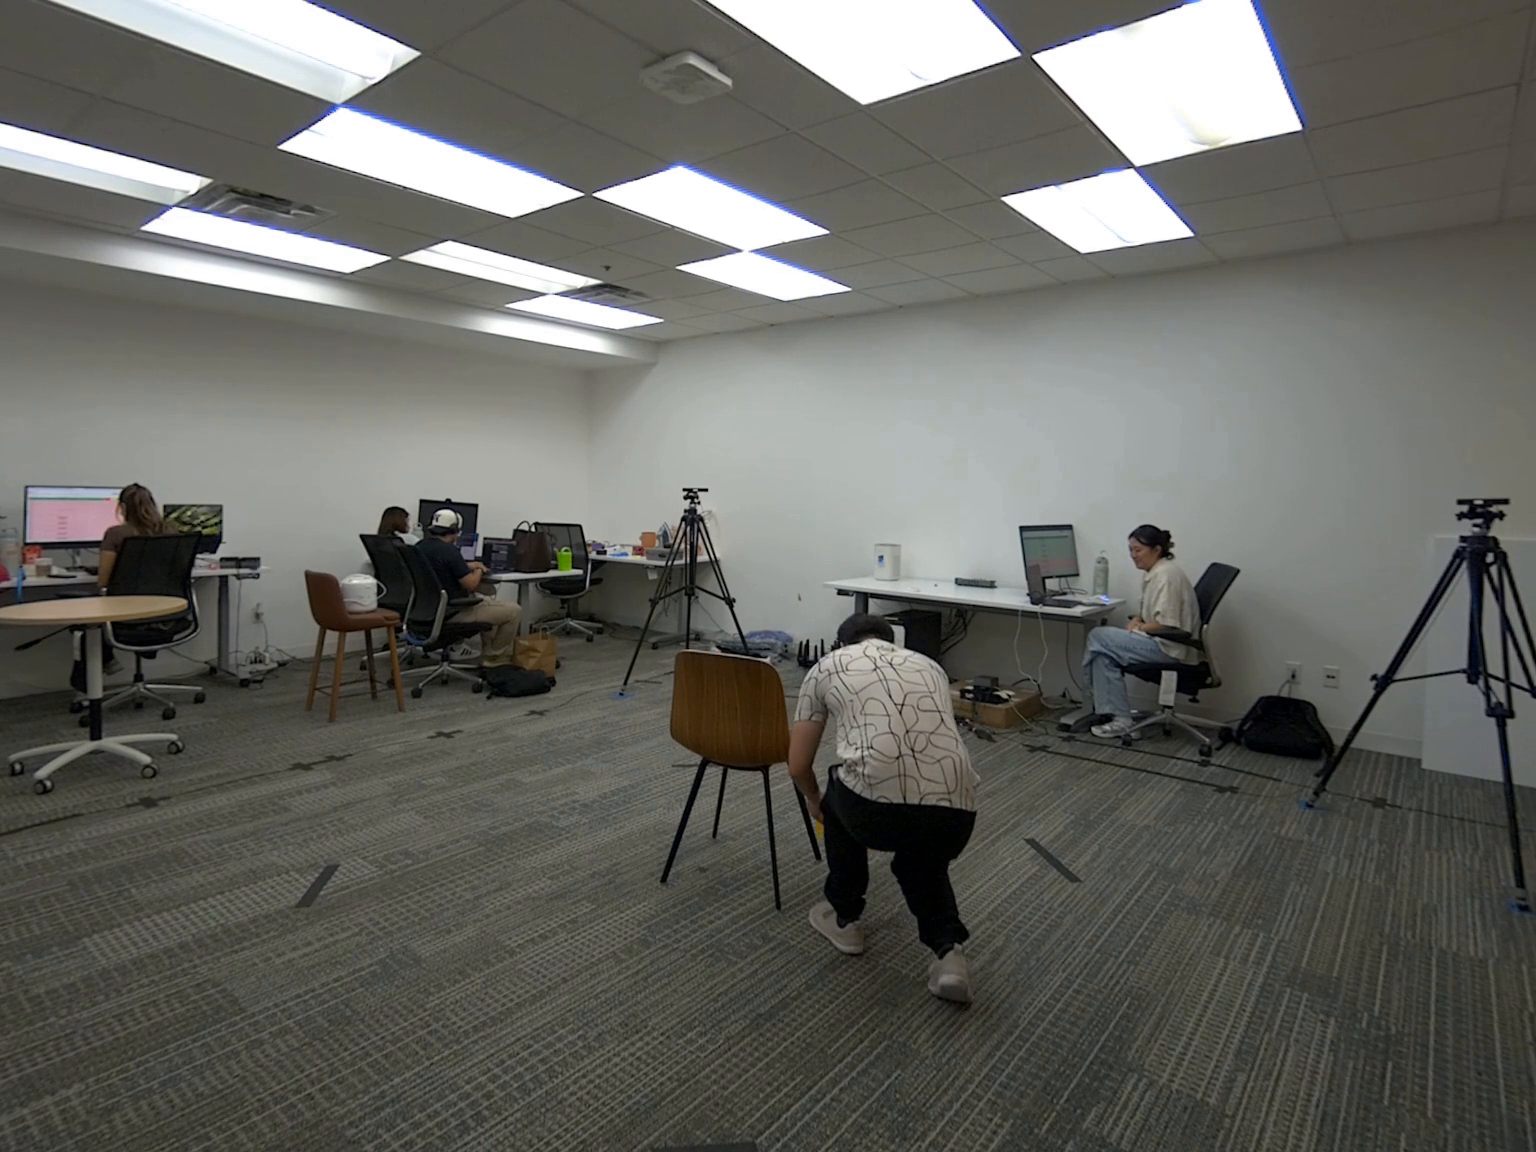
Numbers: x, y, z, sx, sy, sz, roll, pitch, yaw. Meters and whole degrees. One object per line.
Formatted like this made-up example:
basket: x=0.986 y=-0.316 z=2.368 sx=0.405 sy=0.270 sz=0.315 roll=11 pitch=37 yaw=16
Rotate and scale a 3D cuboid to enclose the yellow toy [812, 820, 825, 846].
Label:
yellow toy: x=0.256 y=0.816 z=2.931 sx=0.192 sy=0.231 sz=0.206 roll=-33 pitch=0 yaw=-20
